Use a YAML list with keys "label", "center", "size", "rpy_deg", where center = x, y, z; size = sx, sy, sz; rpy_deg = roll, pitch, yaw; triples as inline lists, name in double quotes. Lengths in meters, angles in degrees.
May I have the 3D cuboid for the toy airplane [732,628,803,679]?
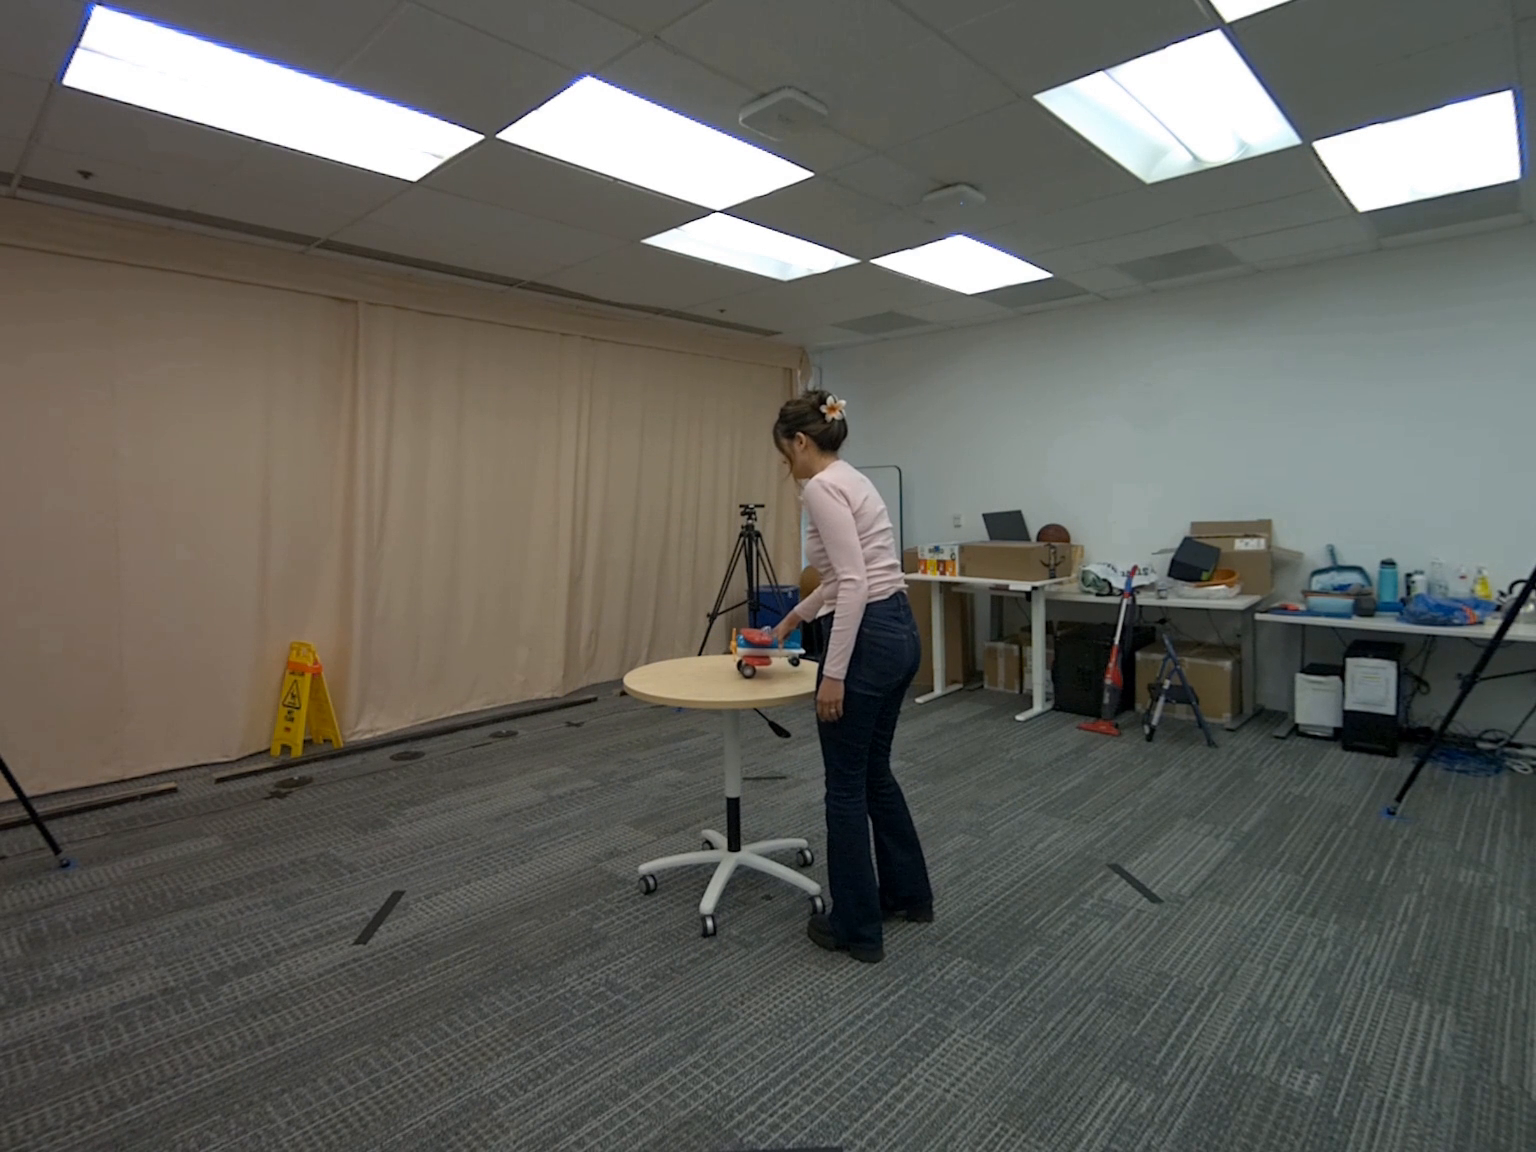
- label: "toy airplane"
  center: [-0.012, 0.263, 3.022]
  size: [0.253, 0.156, 0.258]
  rpy_deg: [-15, 8, -34]
